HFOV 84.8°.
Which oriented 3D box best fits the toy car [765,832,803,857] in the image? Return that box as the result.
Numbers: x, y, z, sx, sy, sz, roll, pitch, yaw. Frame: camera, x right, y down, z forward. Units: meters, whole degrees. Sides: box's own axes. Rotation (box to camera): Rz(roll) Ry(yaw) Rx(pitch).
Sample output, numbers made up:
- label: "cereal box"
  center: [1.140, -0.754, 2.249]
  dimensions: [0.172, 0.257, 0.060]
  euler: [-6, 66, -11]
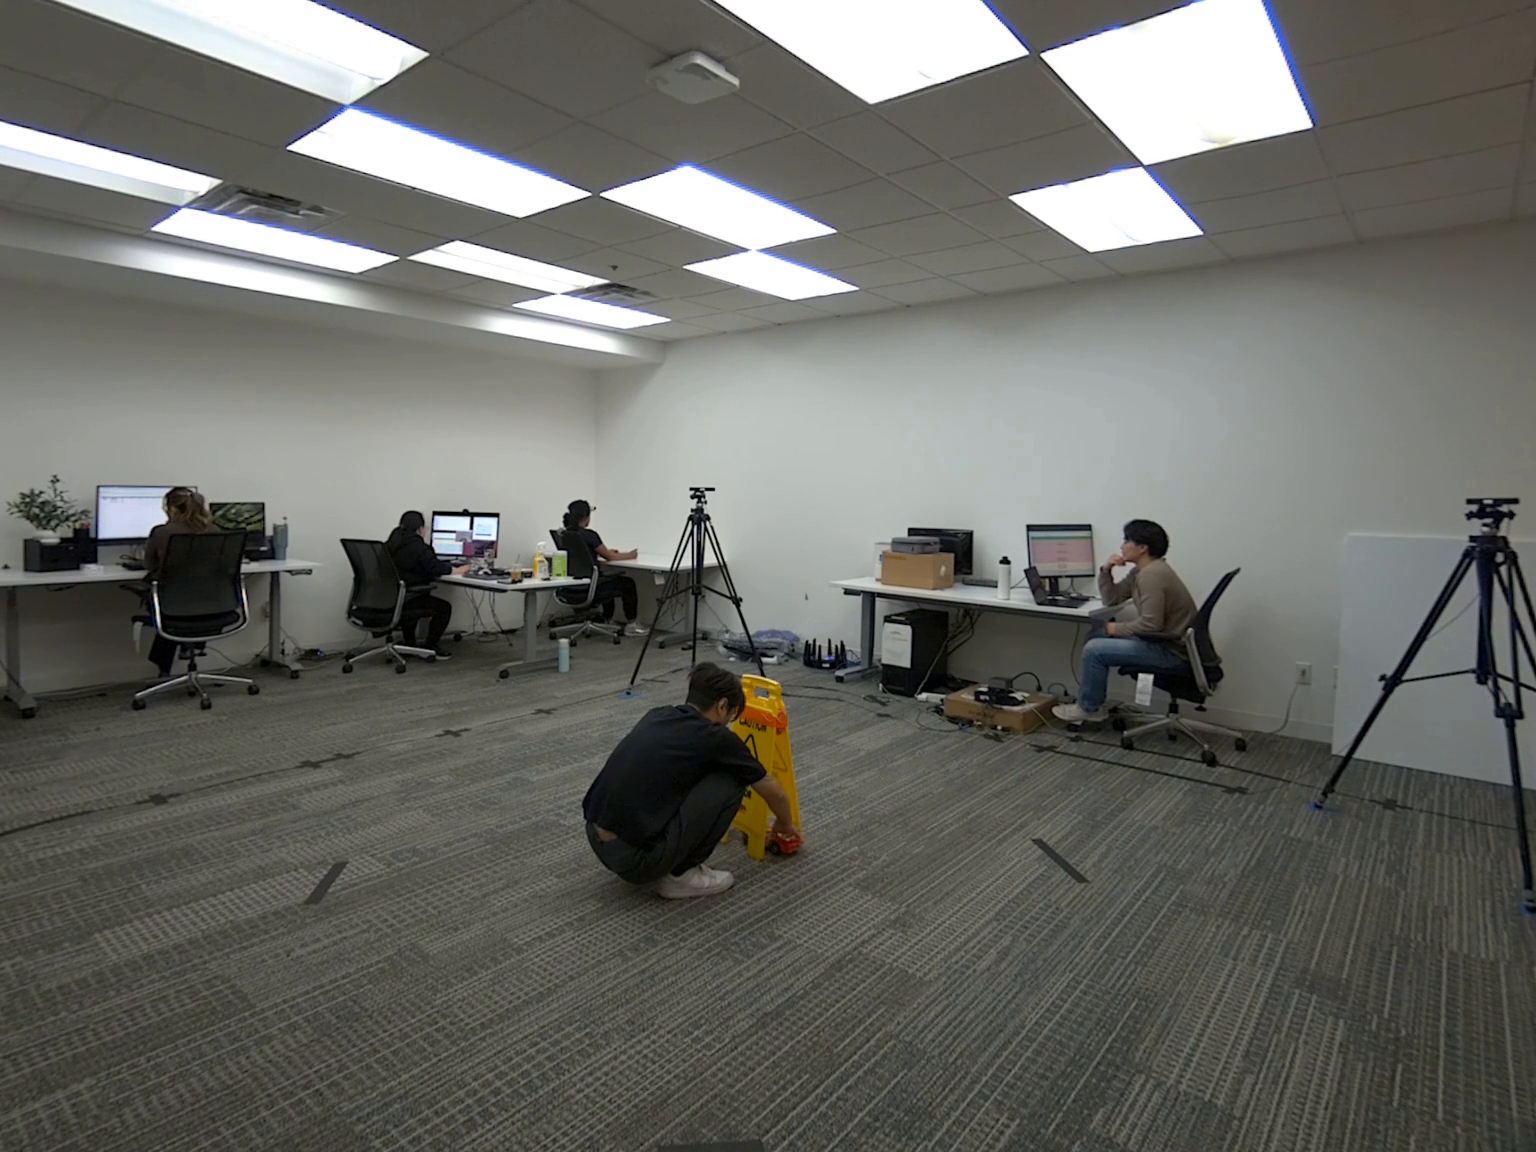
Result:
- label: "toy car"
  center: [0.001, 1.035, 3.310]
  dimensions: [0.261, 0.083, 0.126]
  euler: [-7, -2, 41]
